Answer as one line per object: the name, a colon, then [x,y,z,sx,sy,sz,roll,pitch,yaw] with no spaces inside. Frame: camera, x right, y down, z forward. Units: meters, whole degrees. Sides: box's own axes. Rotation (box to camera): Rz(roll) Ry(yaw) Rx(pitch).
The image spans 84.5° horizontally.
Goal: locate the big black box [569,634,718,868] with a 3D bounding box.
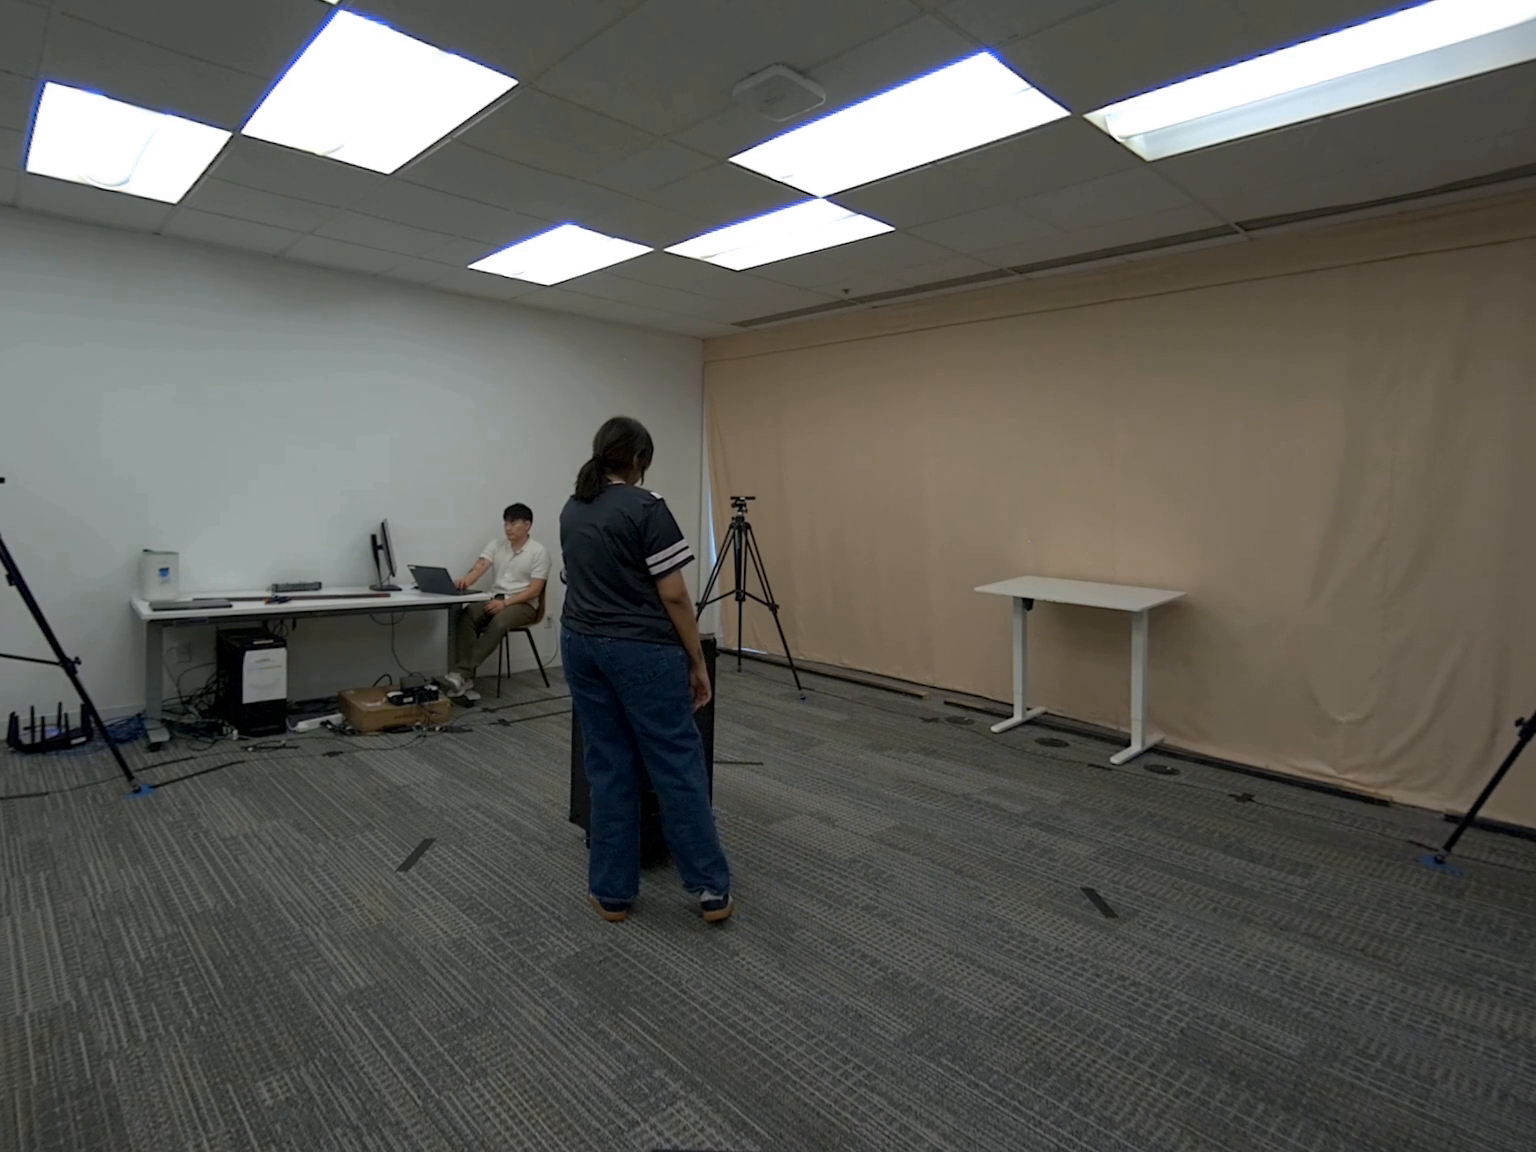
big black box: [-0.511,0.656,3.328,0.376,0.866,0.537,0,4,-43]
